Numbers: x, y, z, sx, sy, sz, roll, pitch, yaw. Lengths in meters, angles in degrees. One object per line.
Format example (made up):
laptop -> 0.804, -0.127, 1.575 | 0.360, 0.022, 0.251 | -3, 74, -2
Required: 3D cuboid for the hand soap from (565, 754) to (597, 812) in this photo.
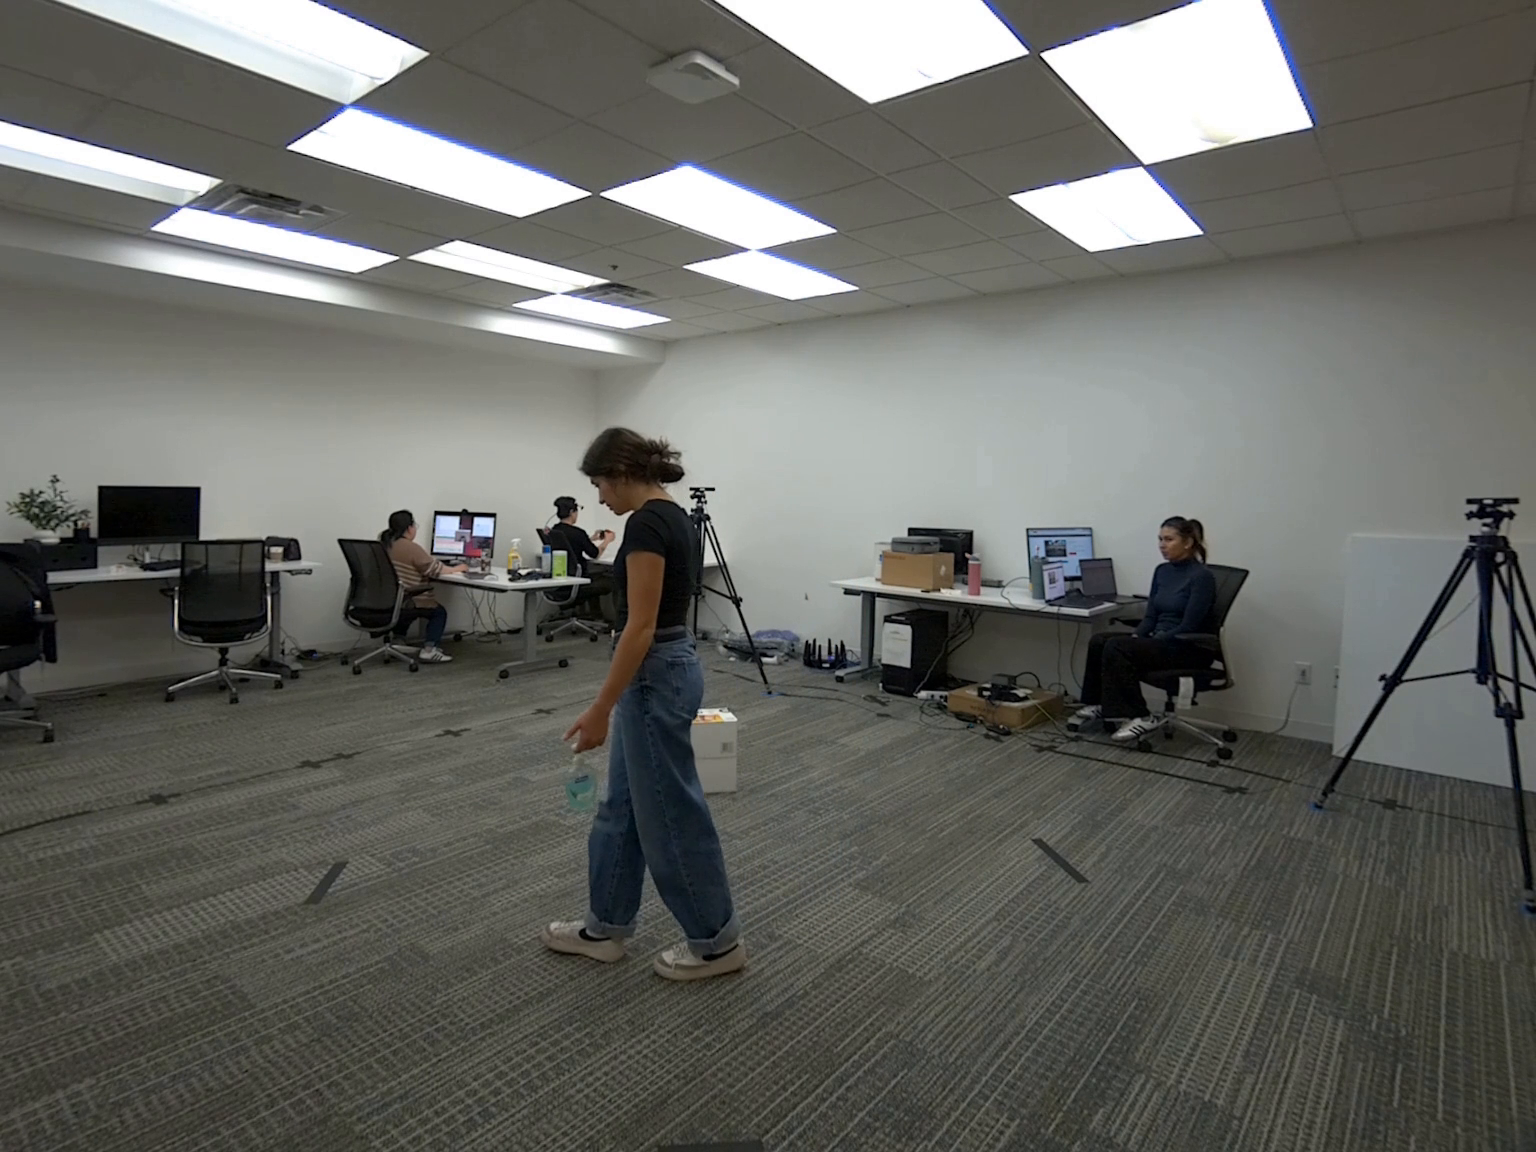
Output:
hand soap -> -0.498, 0.517, 2.223 | 0.083, 0.168, 0.044 | -9, 3, -26
